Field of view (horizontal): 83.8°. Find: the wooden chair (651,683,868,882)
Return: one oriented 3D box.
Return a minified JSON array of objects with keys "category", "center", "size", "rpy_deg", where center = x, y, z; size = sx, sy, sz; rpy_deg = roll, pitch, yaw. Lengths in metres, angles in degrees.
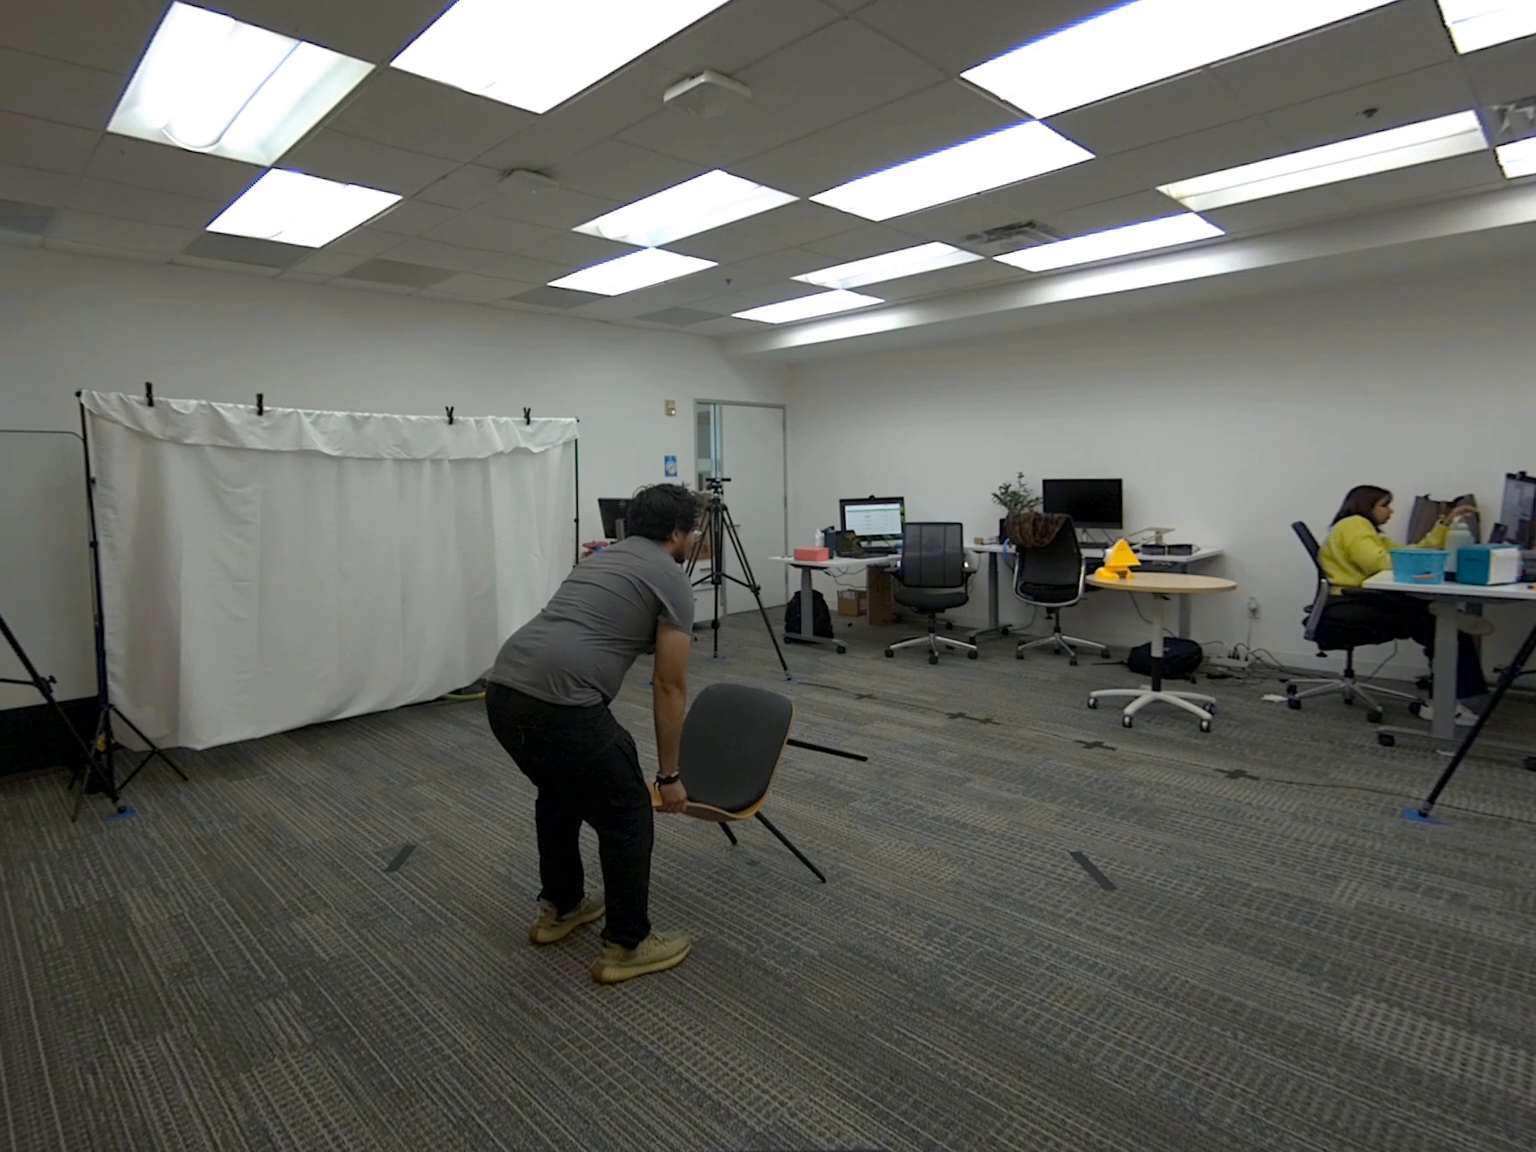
[{"category":"wooden chair","center":[-0.120,0.634,2.921],"size":[0.493,0.527,0.843],"rpy_deg":[4,-22,44]}]
